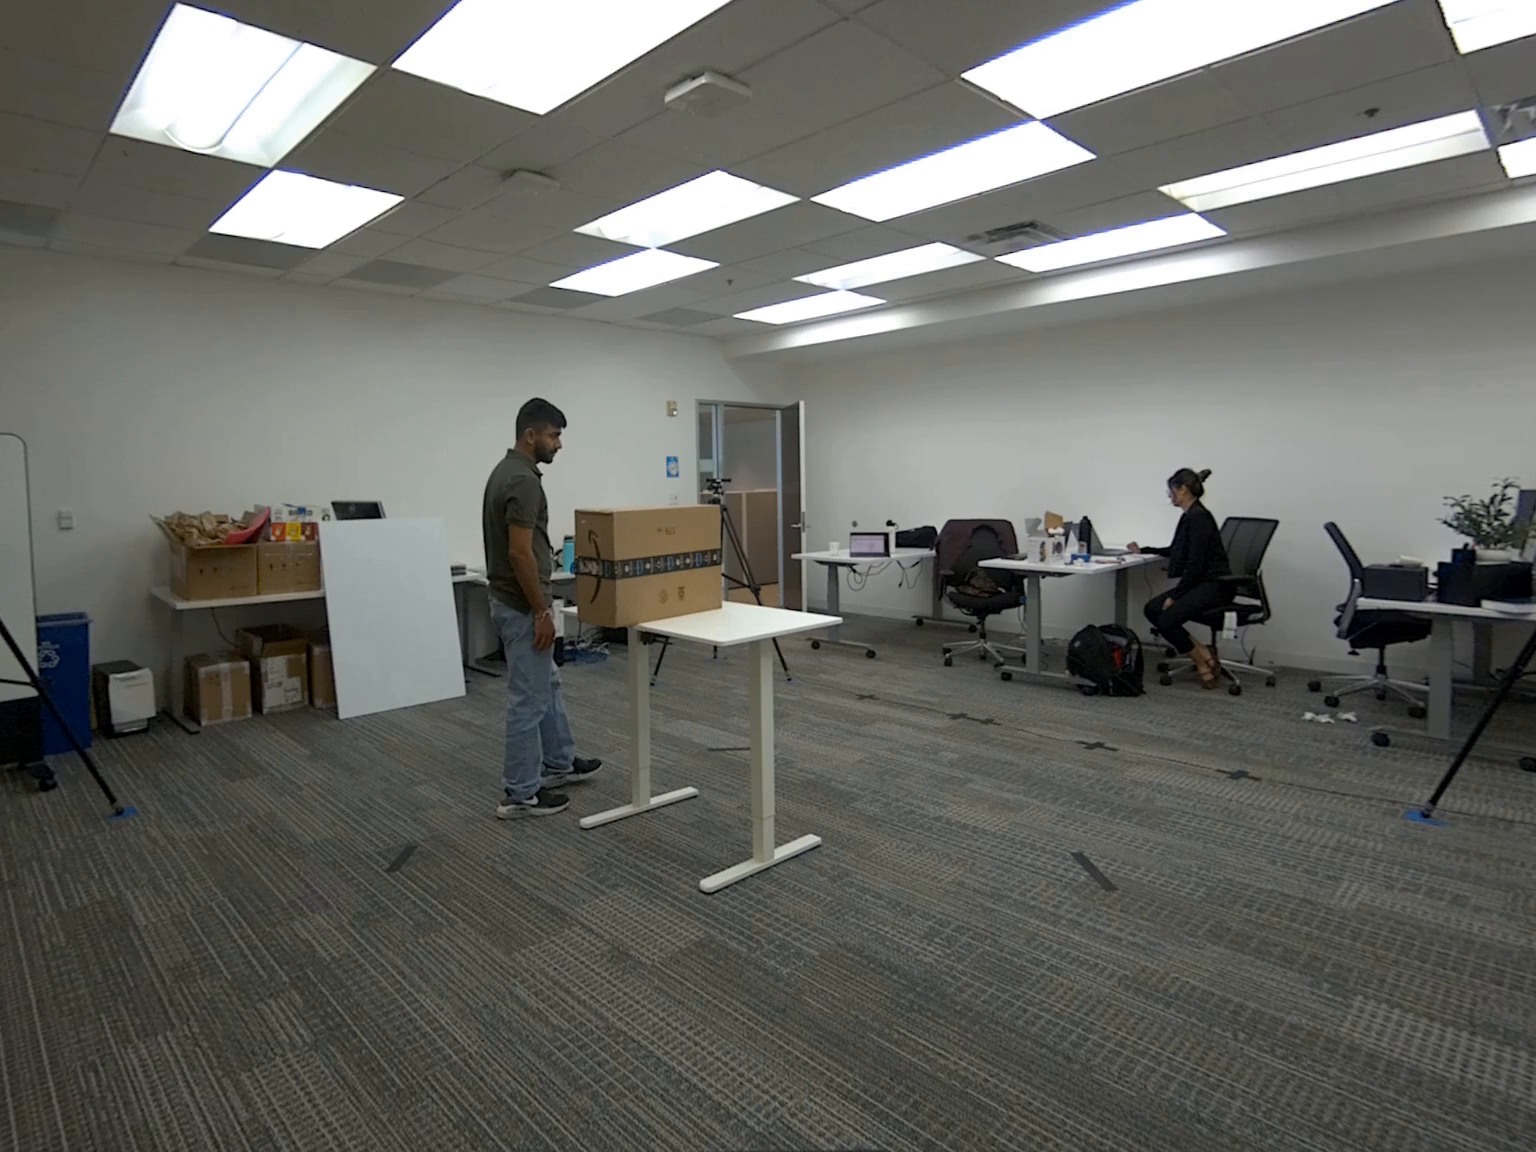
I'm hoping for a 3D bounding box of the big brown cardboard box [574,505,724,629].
[{"bbox_3d":[-0.452,-0.052,3.266,0.240,0.416,0.574,4,7,41],"label":"big brown cardboard box"}]
